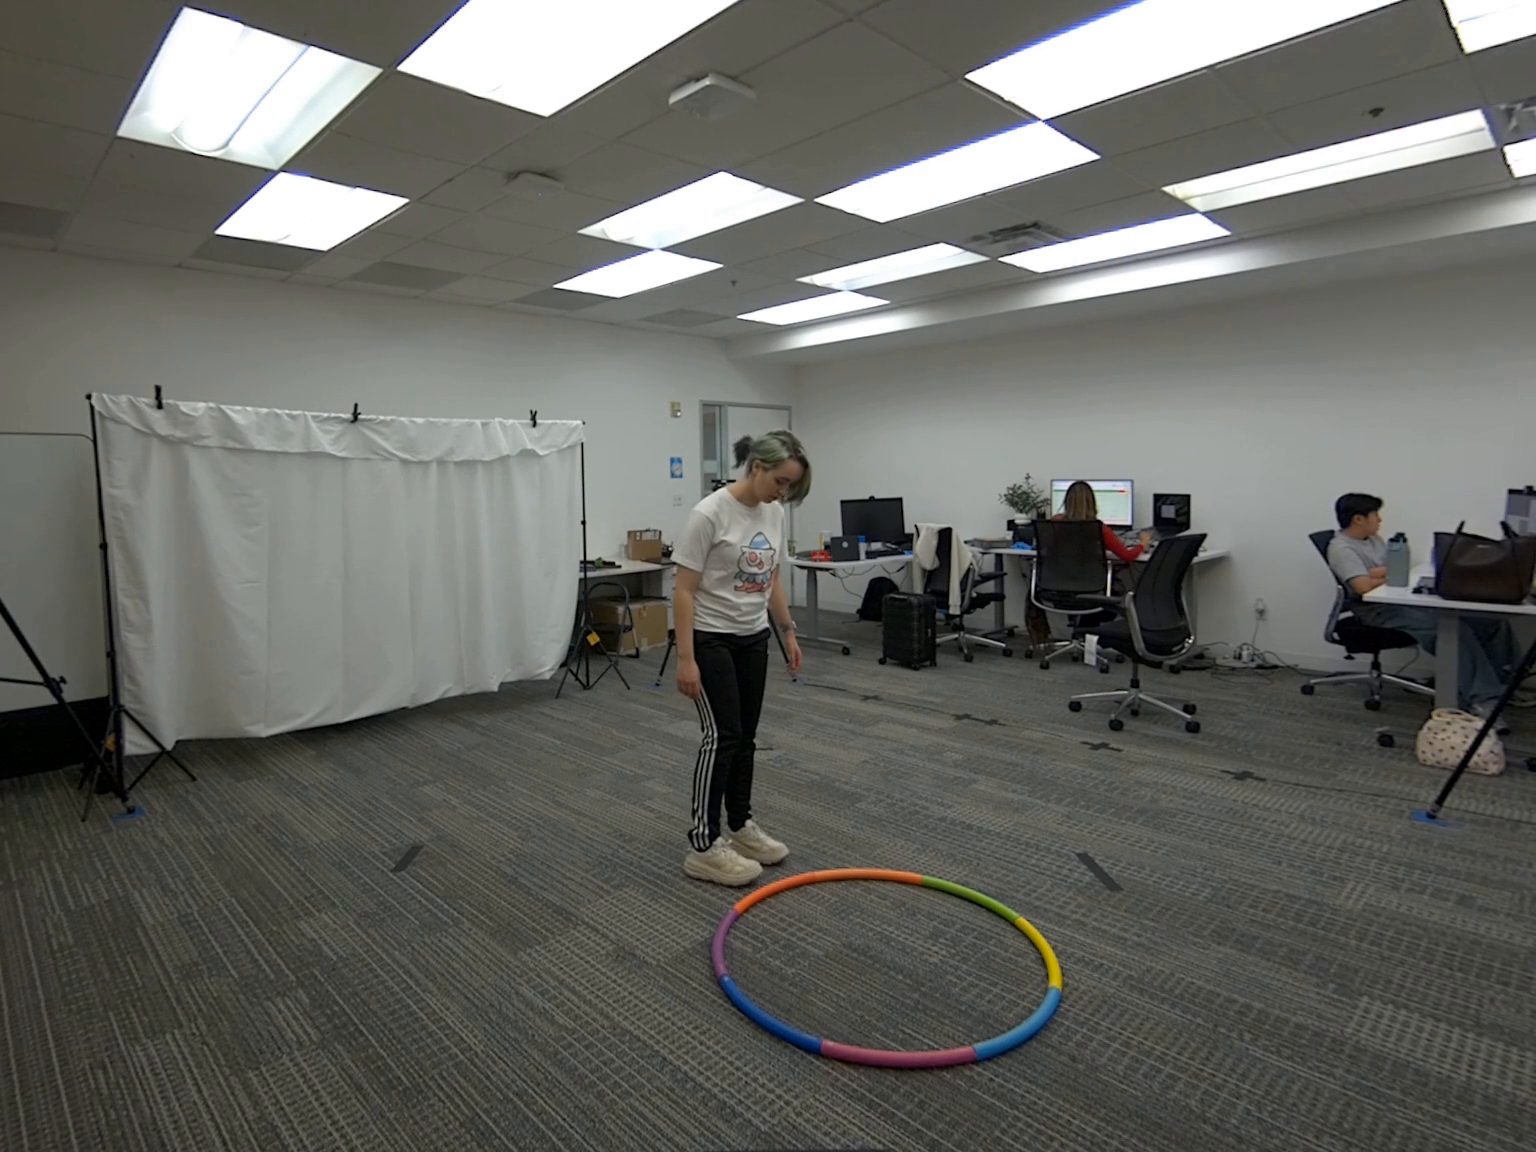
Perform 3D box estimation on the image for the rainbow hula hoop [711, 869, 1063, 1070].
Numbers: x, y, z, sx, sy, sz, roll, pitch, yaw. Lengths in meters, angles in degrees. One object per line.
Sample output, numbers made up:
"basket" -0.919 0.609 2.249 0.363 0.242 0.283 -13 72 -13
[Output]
"rainbow hula hoop" 0.328 1.079 2.501 0.978 0.035 0.984 -2 6 -2
